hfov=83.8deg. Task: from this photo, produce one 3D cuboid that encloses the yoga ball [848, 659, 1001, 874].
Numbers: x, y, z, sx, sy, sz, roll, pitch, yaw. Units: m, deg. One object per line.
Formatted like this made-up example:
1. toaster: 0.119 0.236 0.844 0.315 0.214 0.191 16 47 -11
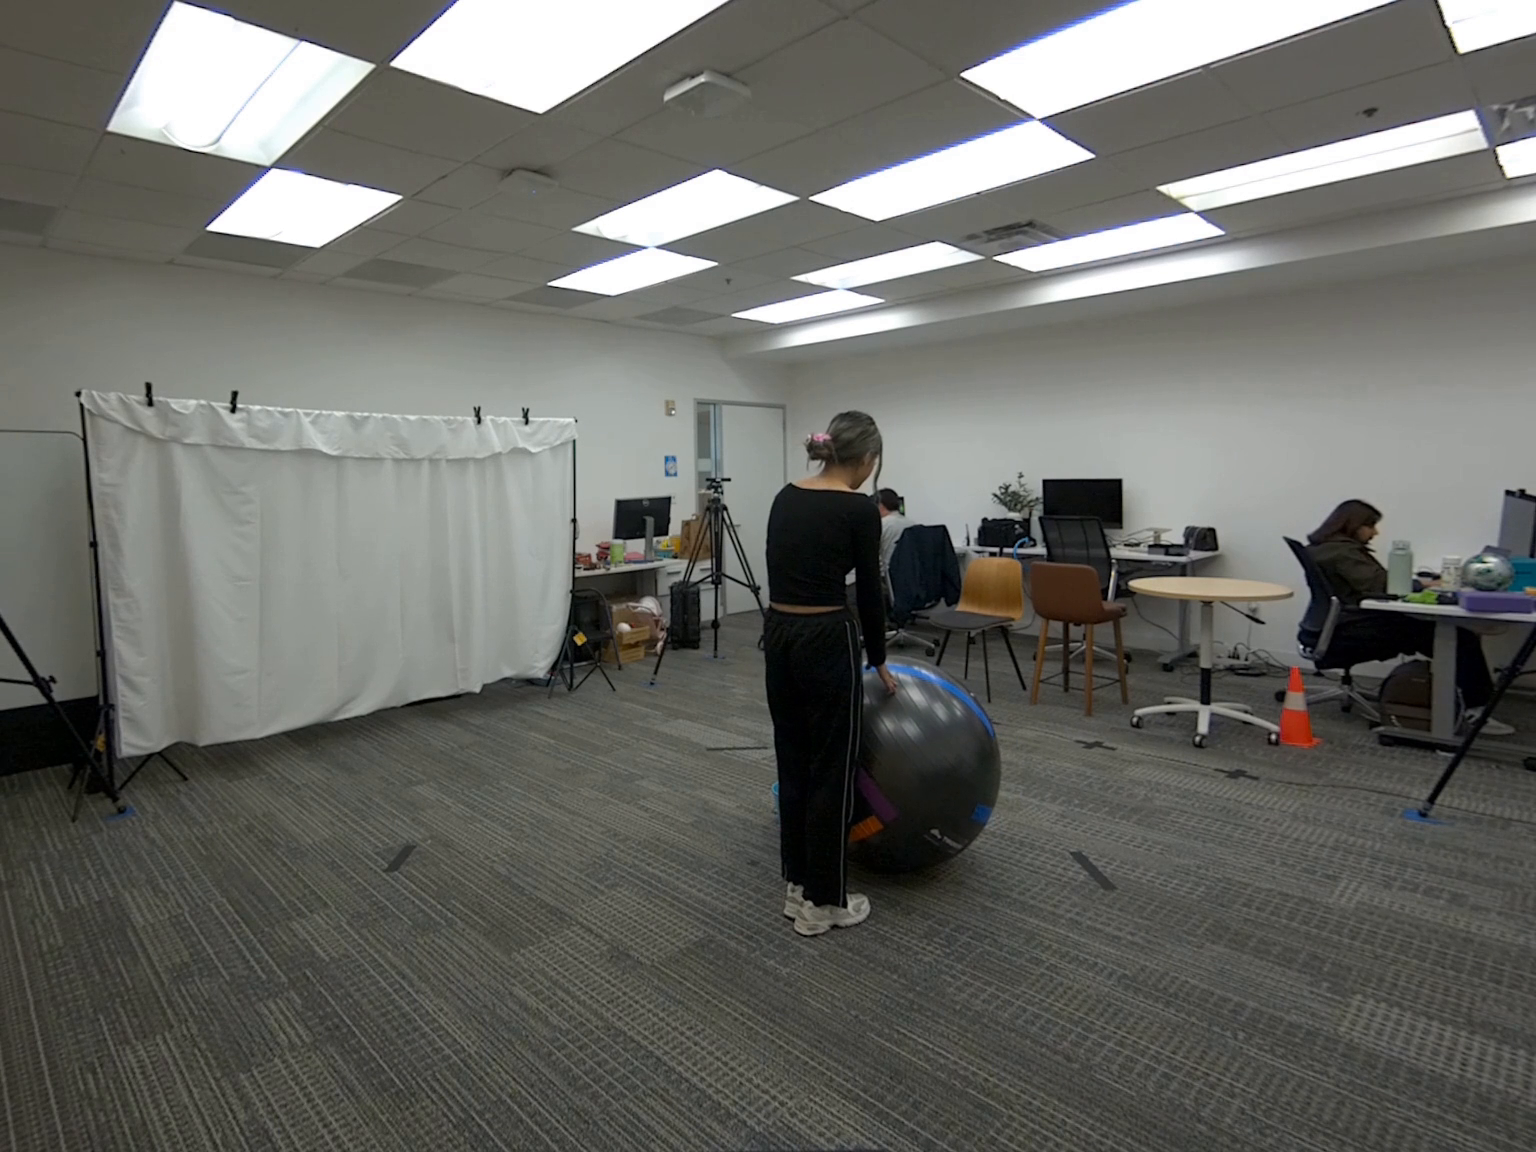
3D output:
1. yoga ball: 0.461 0.681 3.092 0.757 0.755 0.762 -1 5 -2
